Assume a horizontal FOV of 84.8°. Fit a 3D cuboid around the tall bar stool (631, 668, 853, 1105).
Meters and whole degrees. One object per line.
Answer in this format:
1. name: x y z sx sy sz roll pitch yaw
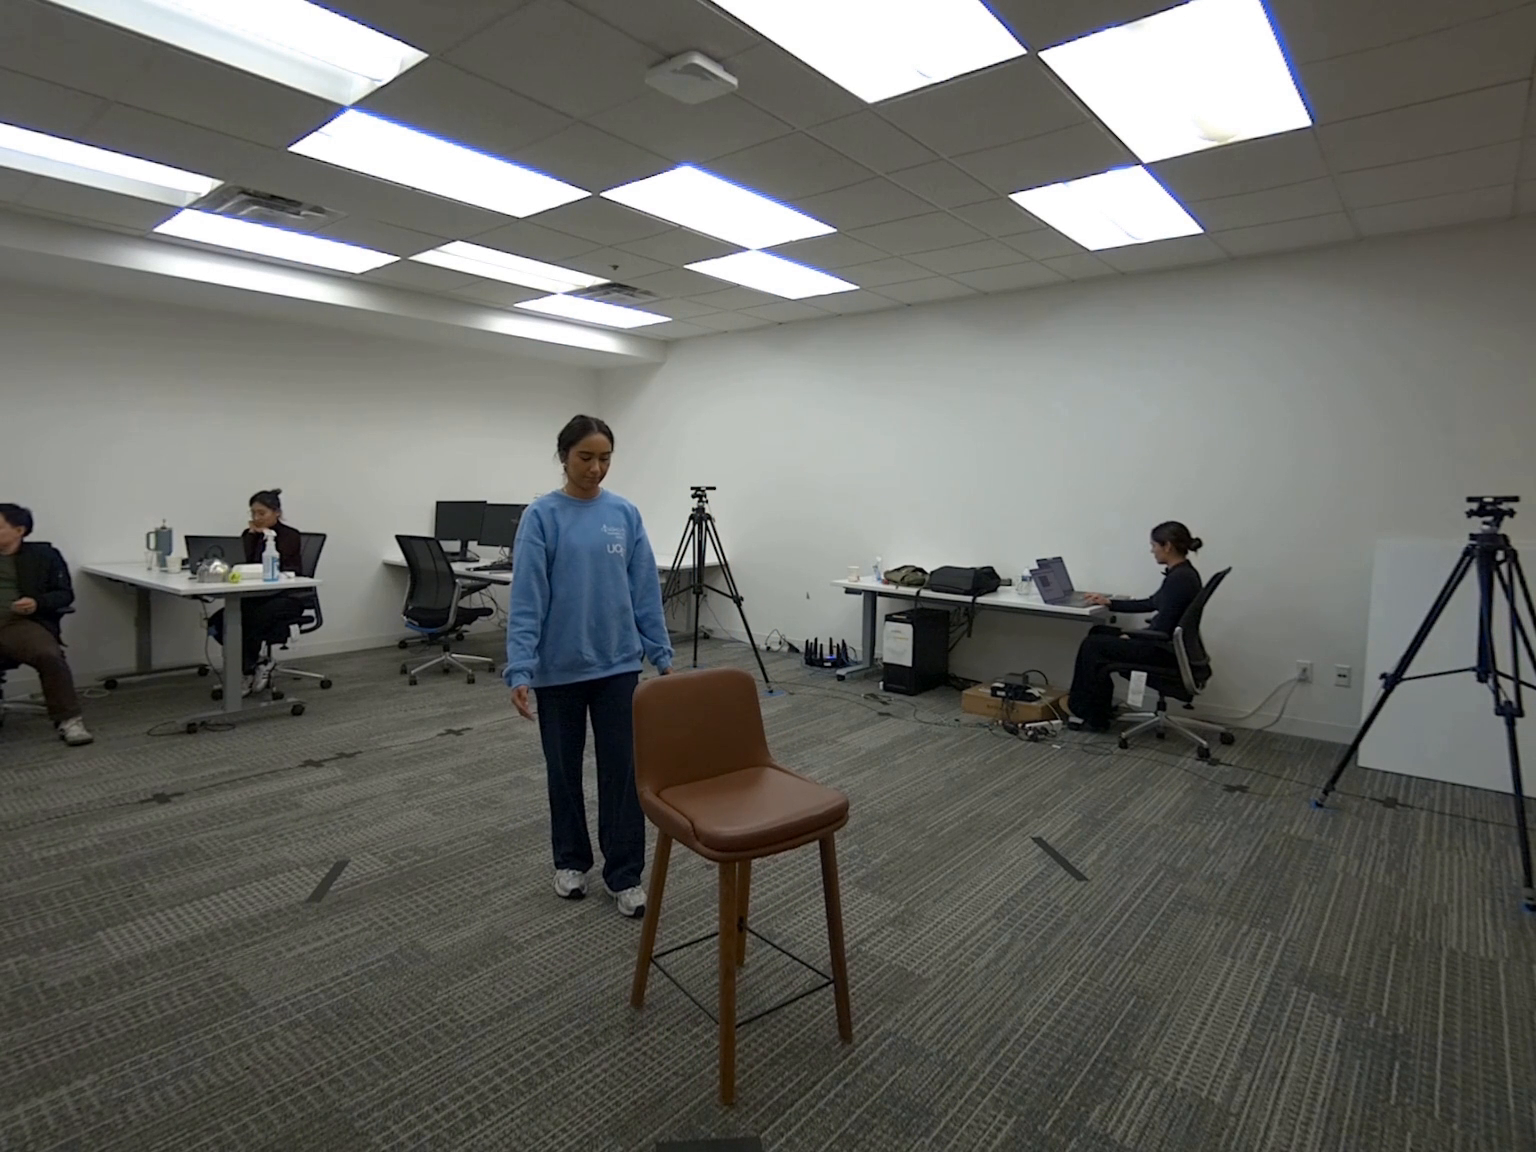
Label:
1. tall bar stool: -0.082 0.718 2.198 0.443 0.889 0.482 -1 2 -38
